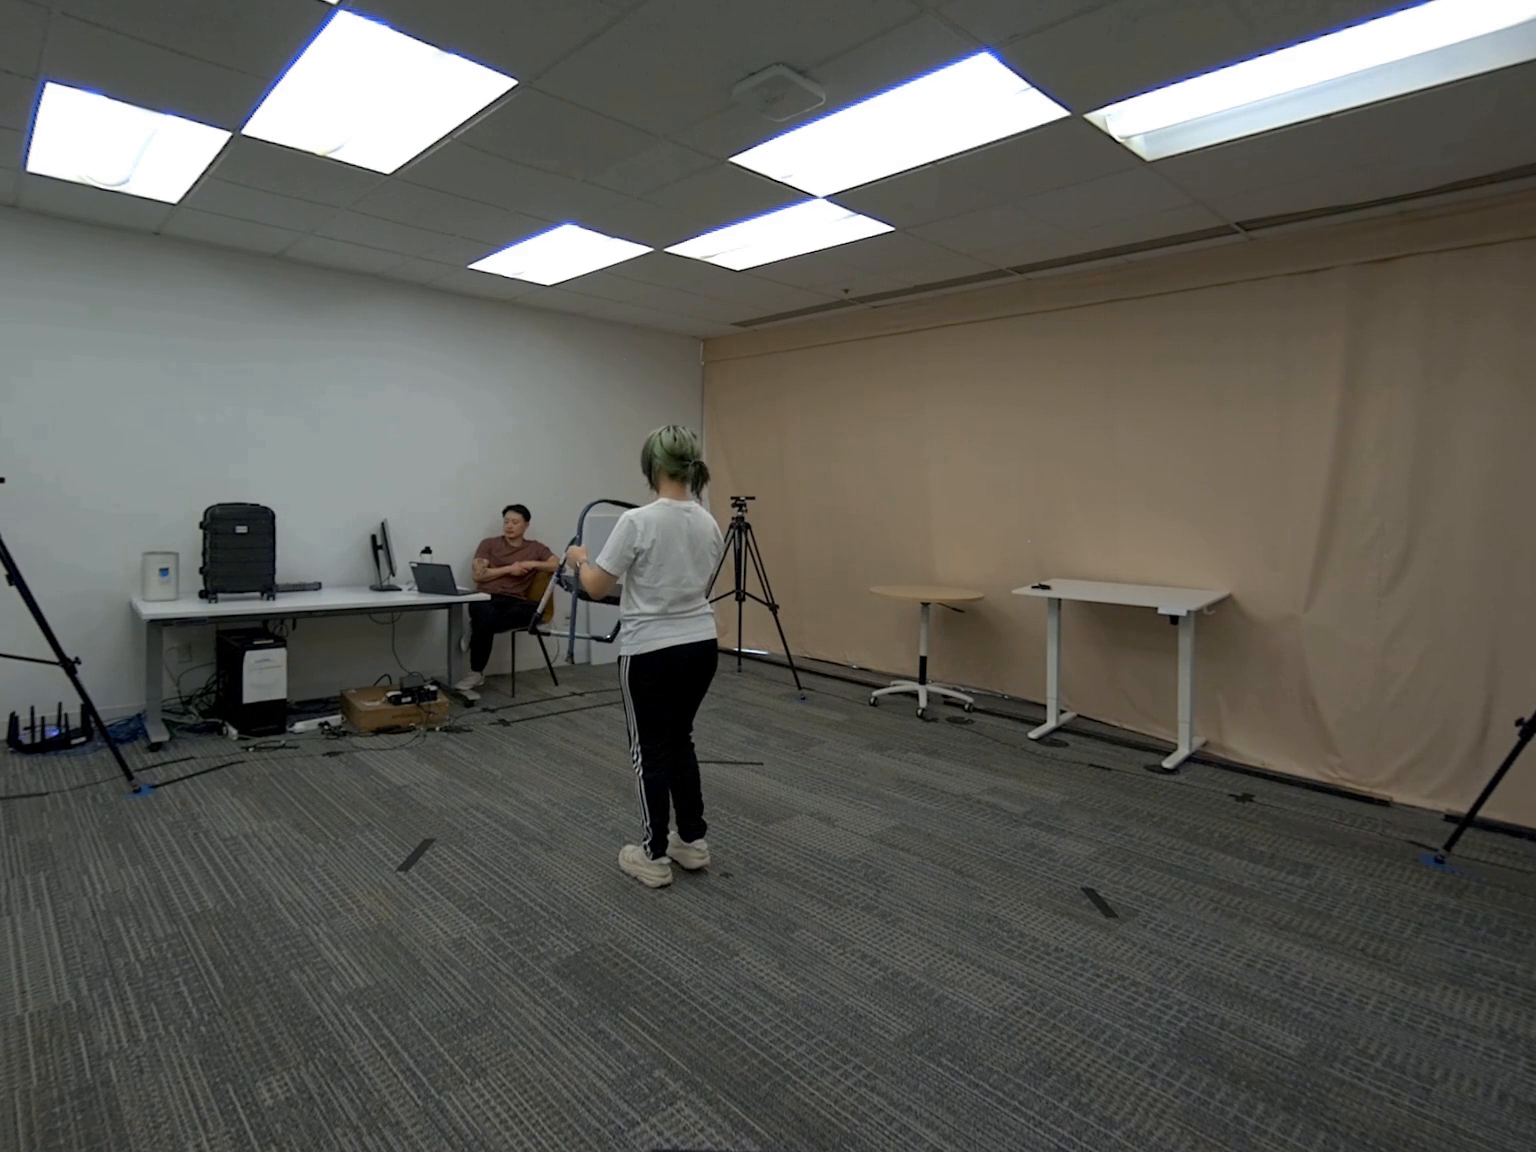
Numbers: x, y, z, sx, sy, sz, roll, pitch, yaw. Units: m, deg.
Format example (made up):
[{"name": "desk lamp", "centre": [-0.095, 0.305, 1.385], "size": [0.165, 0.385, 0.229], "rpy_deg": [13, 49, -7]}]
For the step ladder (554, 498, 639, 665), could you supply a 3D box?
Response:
[{"name": "step ladder", "centre": [-0.614, 0.011, 3.329], "size": [0.418, 0.605, 0.360], "rpy_deg": [13, 6, -46]}]
